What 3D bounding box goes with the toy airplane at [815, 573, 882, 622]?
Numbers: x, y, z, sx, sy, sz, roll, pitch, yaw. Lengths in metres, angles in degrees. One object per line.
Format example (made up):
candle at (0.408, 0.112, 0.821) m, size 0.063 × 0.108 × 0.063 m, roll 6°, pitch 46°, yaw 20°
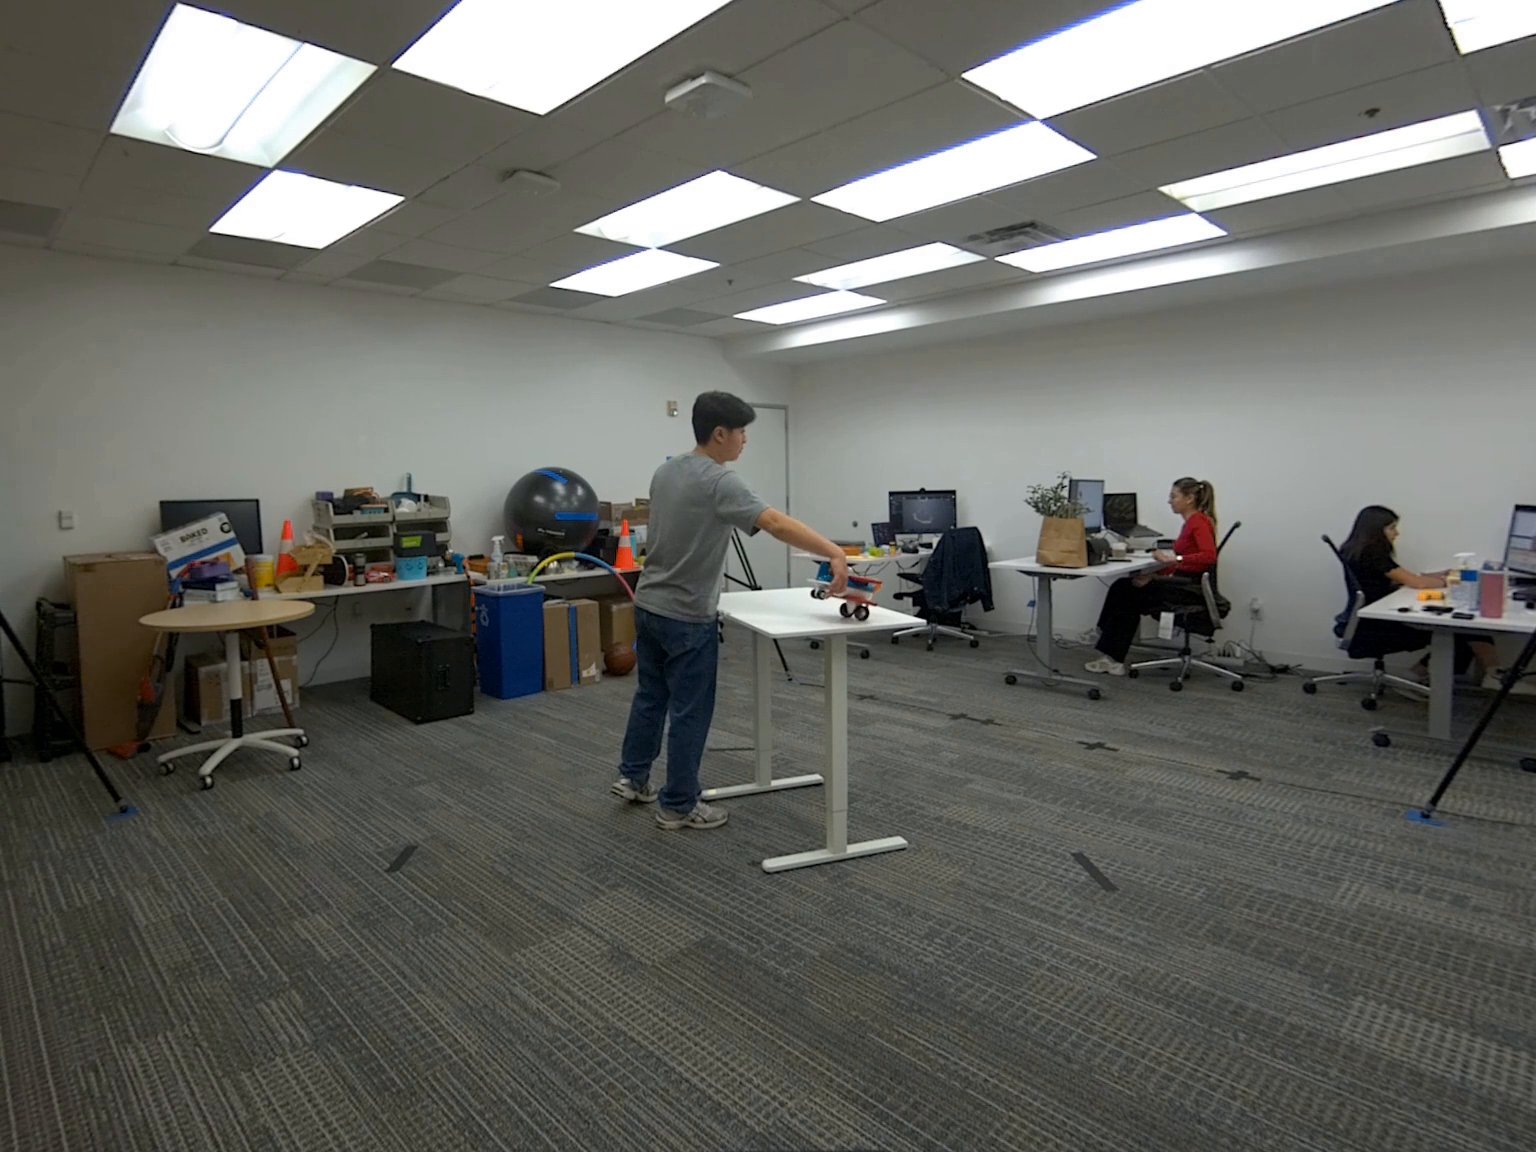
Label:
toy airplane at (0.281, 0.052, 3.073) m, size 0.259 × 0.157 × 0.250 m, roll 18°, pitch -12°, yaw 32°
